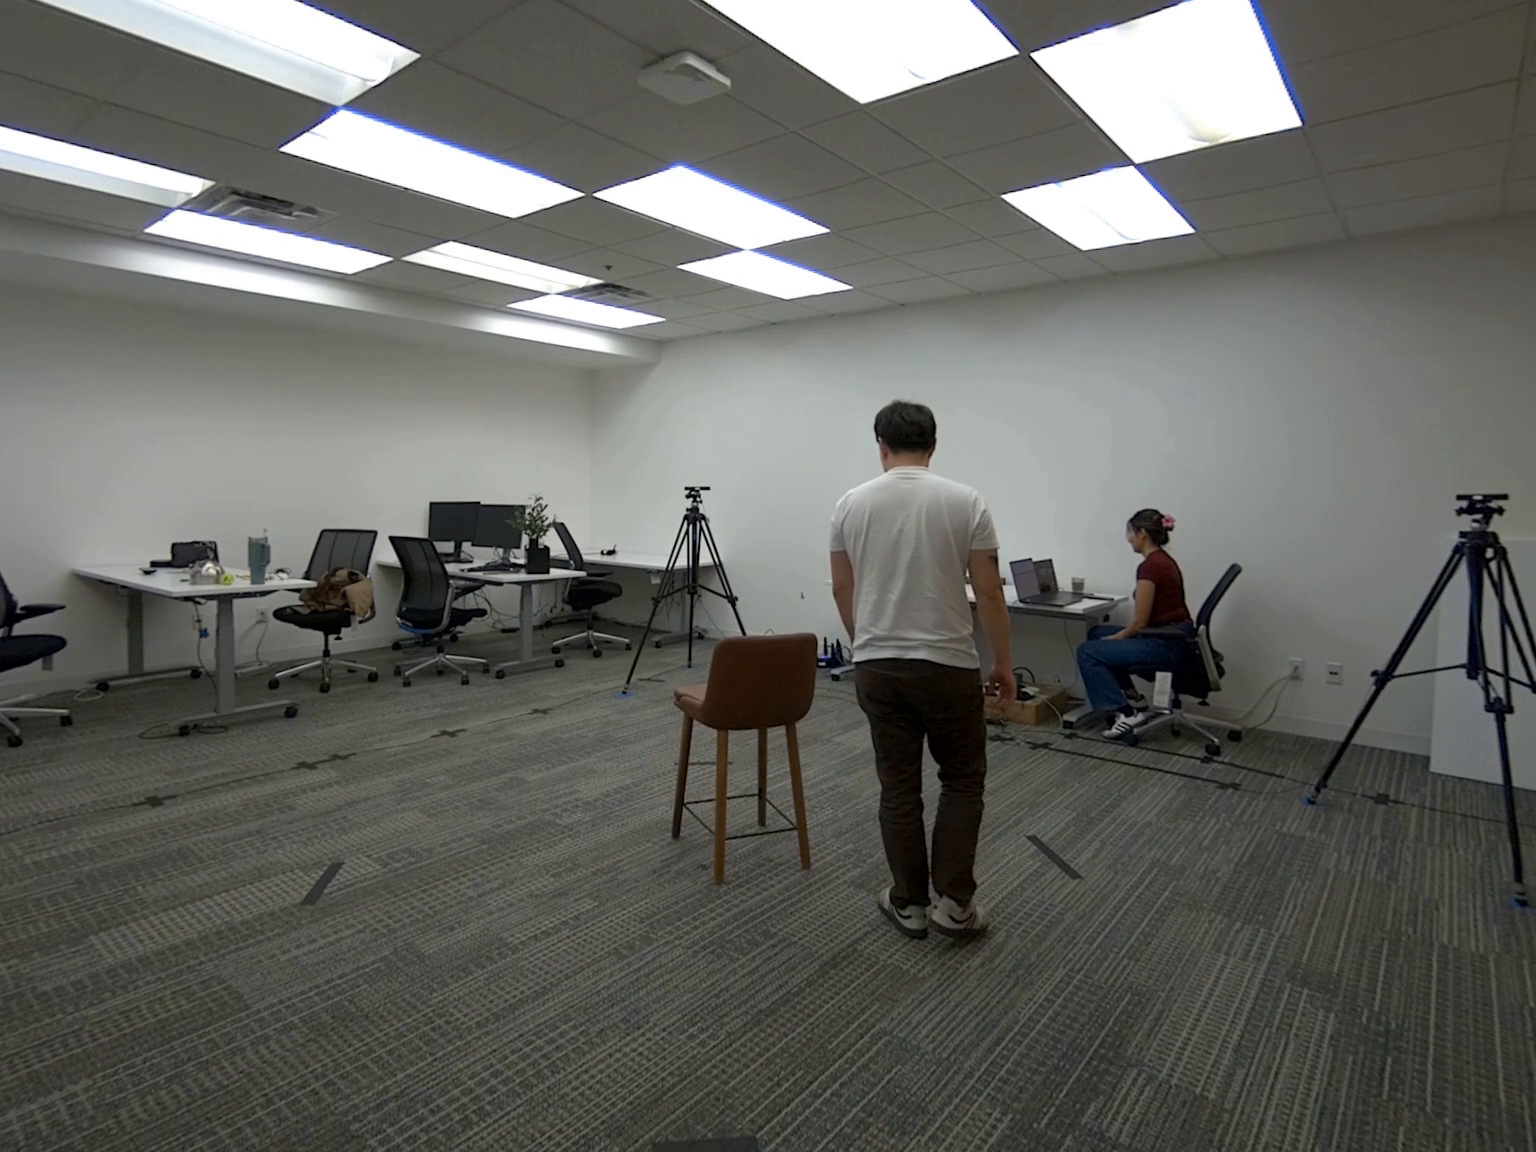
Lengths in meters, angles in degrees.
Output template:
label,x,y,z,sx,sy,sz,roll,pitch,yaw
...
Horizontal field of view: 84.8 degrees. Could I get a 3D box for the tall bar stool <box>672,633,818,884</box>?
label,x,y,z,sx,sy,sz,roll,pitch,yaw
tall bar stool,-0.103,0.619,3.226,0.446,0.886,0.481,-1,5,-25
